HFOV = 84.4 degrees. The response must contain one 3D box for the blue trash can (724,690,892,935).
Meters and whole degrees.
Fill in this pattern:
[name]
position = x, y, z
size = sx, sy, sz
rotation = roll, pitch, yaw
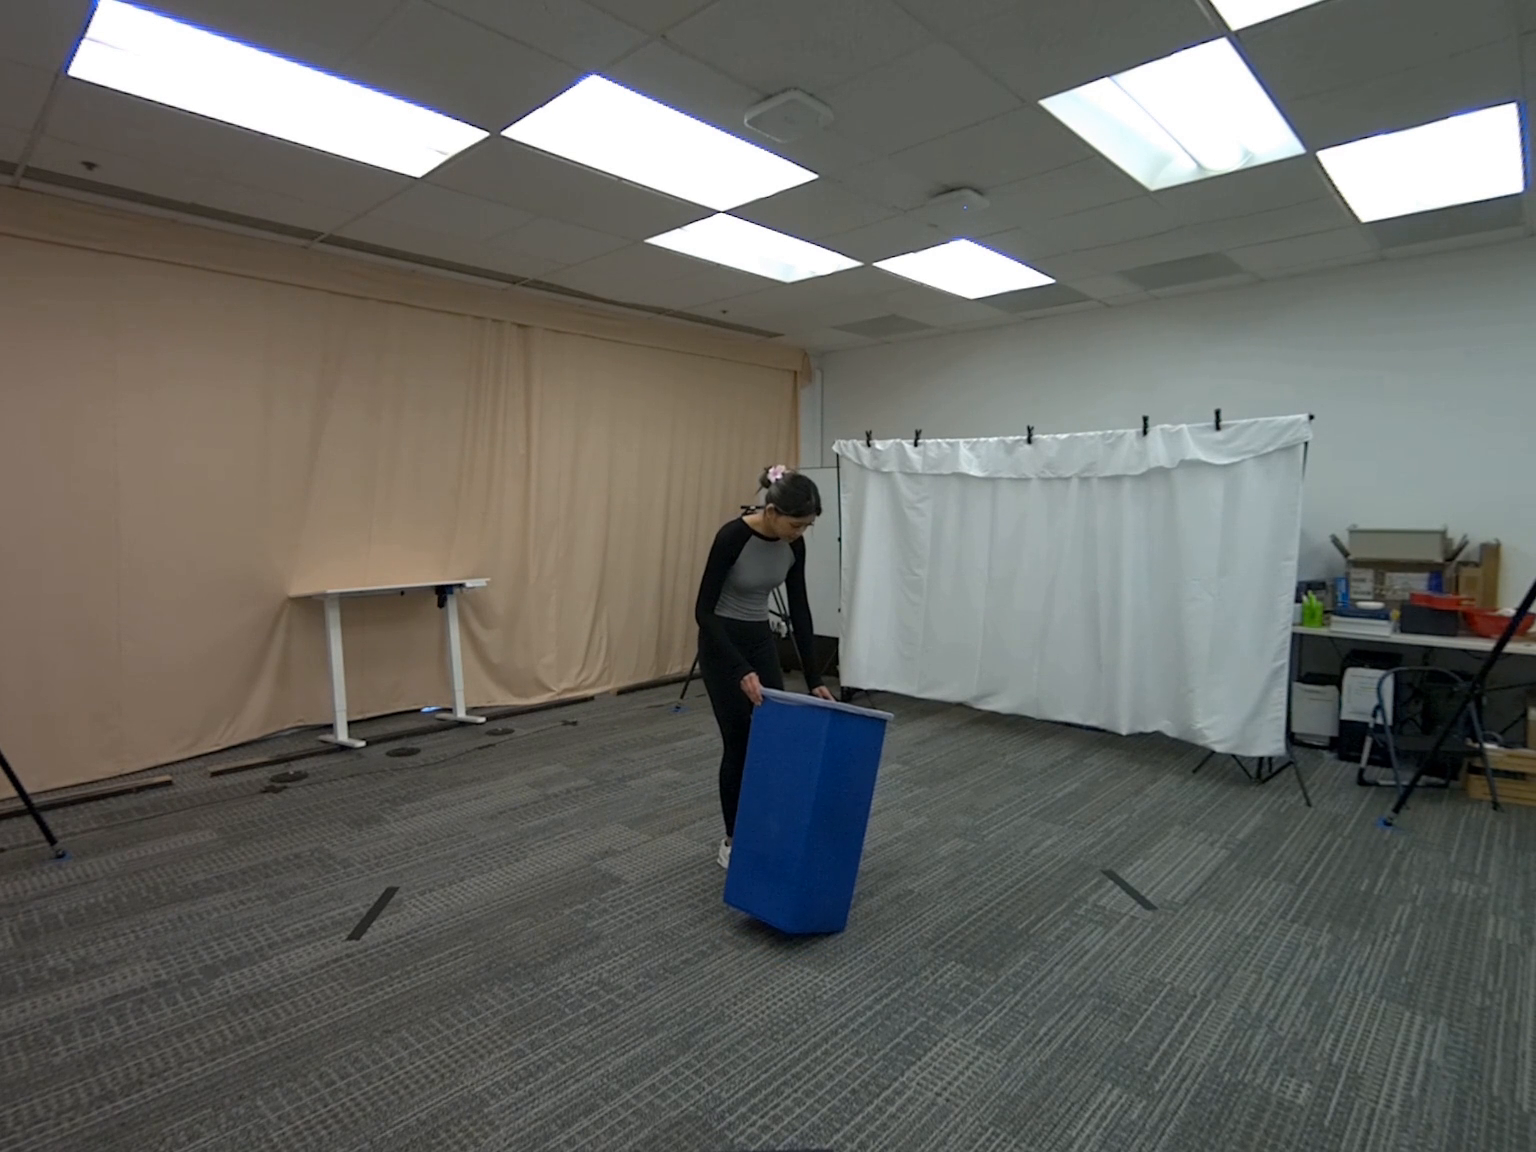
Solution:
[blue trash can]
position = 0.127, 0.770, 2.823
size = 0.390, 0.716, 0.360
rotation = 2, -13, 45
